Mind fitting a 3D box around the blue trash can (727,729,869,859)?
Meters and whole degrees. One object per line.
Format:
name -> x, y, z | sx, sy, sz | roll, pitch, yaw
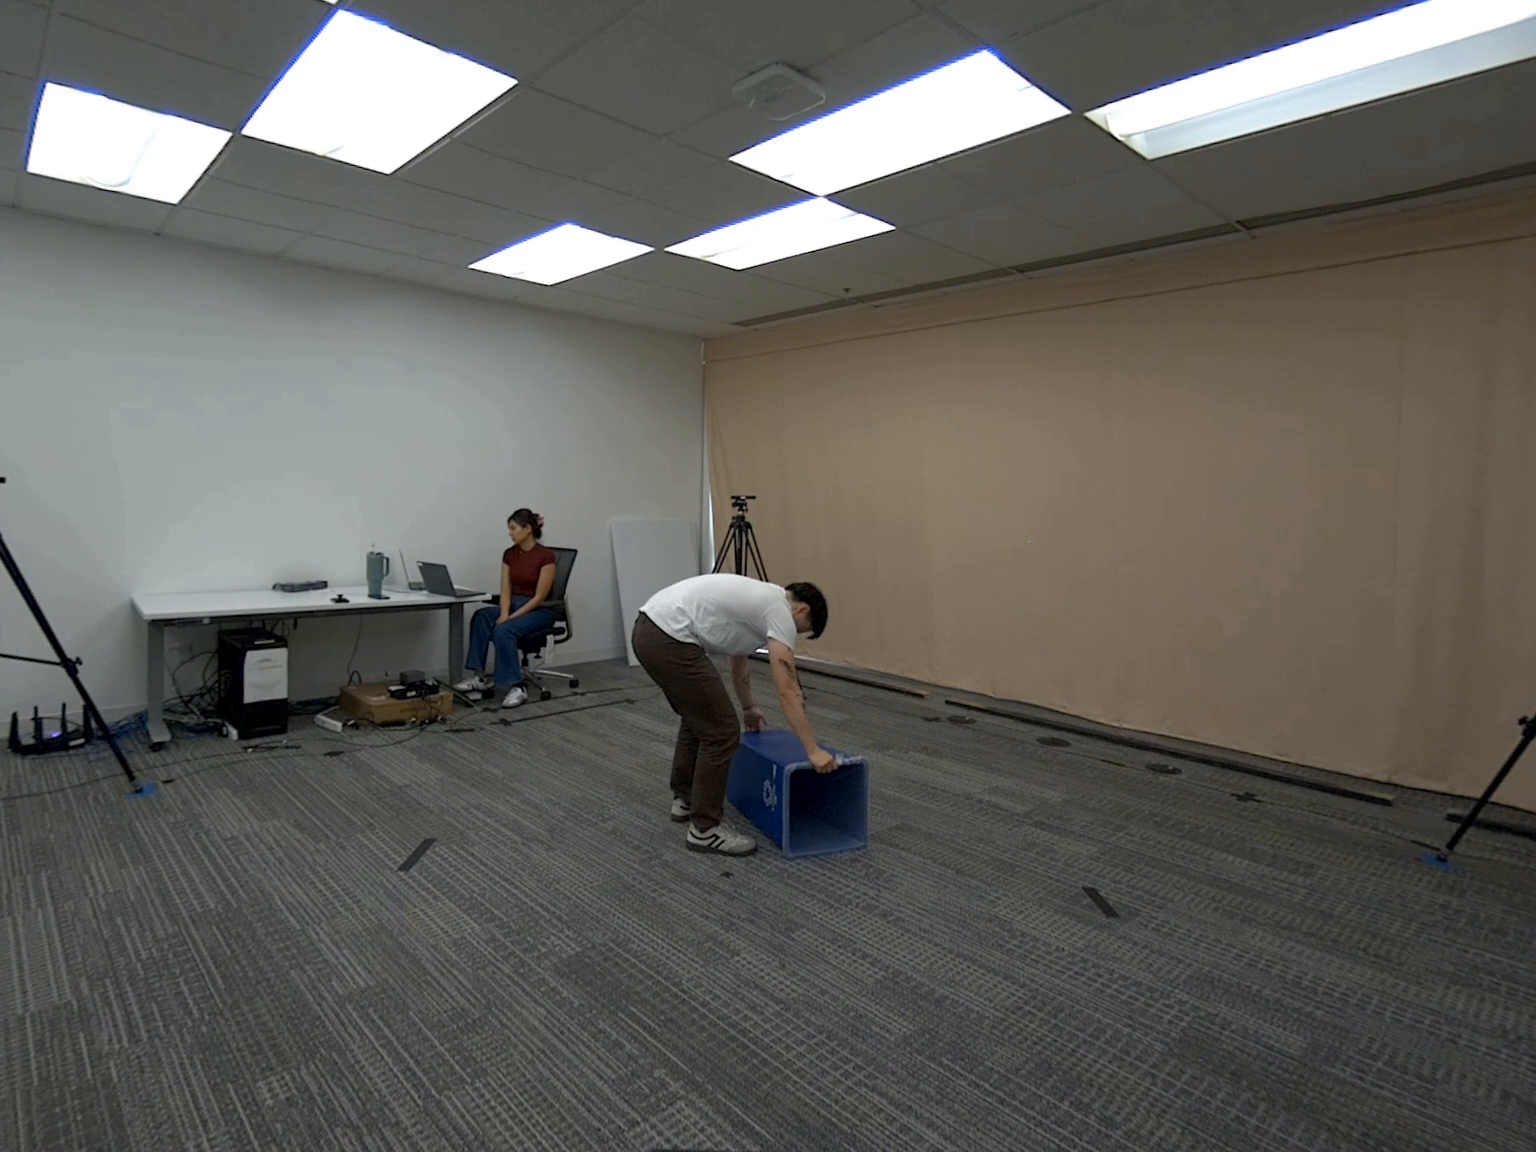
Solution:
blue trash can -> 0.080, 0.897, 3.620 | 0.368, 0.378, 0.726 | -2, 2, -24
